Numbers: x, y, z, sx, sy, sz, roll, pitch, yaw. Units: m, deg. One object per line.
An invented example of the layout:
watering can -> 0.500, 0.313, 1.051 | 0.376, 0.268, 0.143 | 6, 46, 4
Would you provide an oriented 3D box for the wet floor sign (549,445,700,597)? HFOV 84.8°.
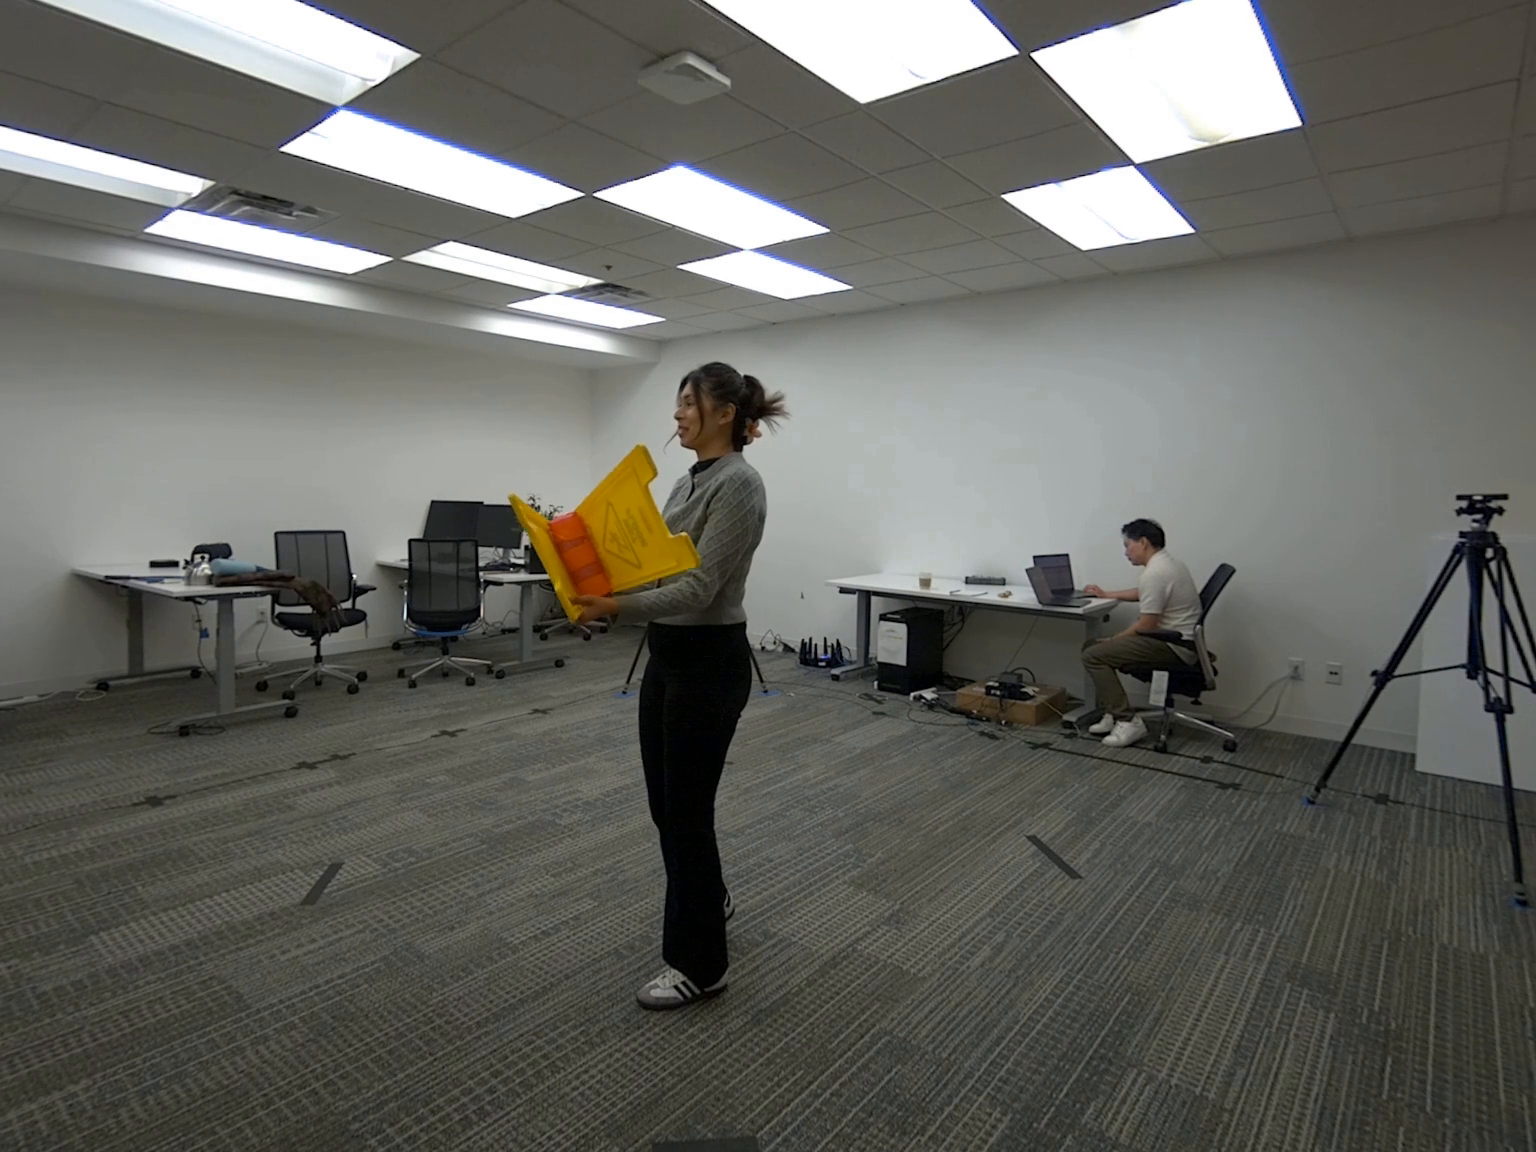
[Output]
wet floor sign -> -0.427, -0.061, 1.998 | 0.287, 0.282, 0.653 | -25, 3, -19
